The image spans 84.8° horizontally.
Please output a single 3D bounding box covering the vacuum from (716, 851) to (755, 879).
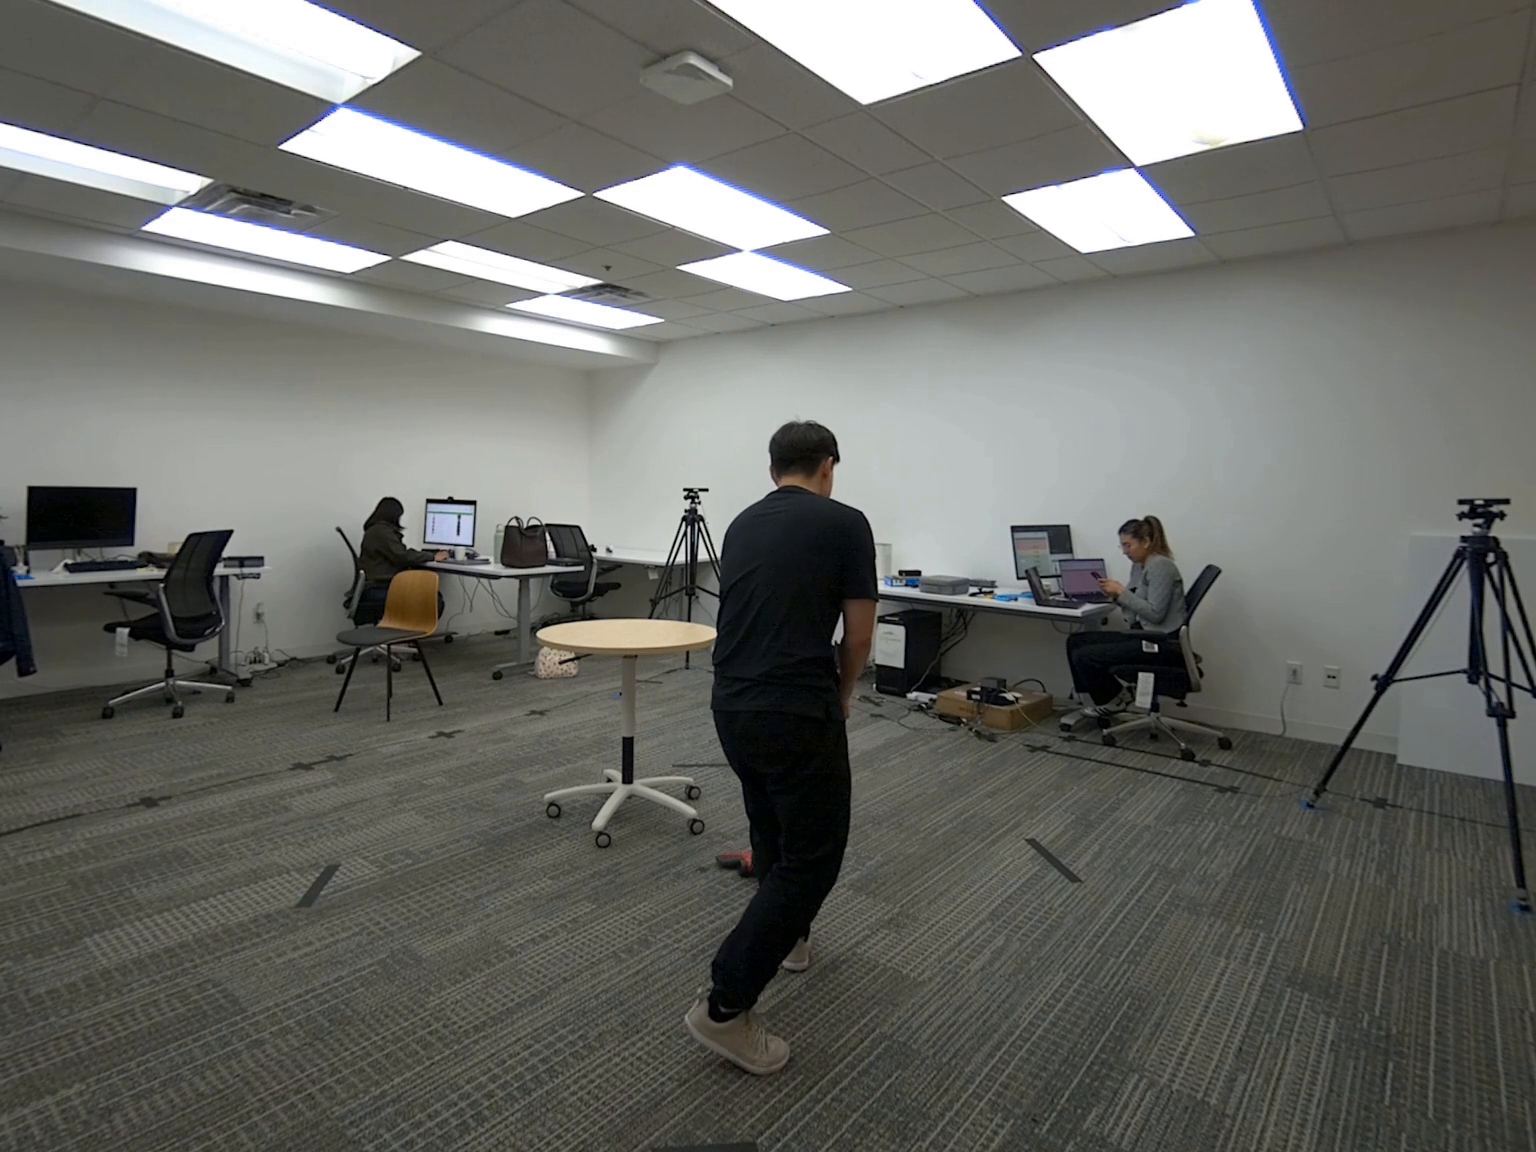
[{"bbox_3d":[0.056,0.723,2.757,0.248,0.149,1.031,0,-40,-18],"label":"vacuum"}]
